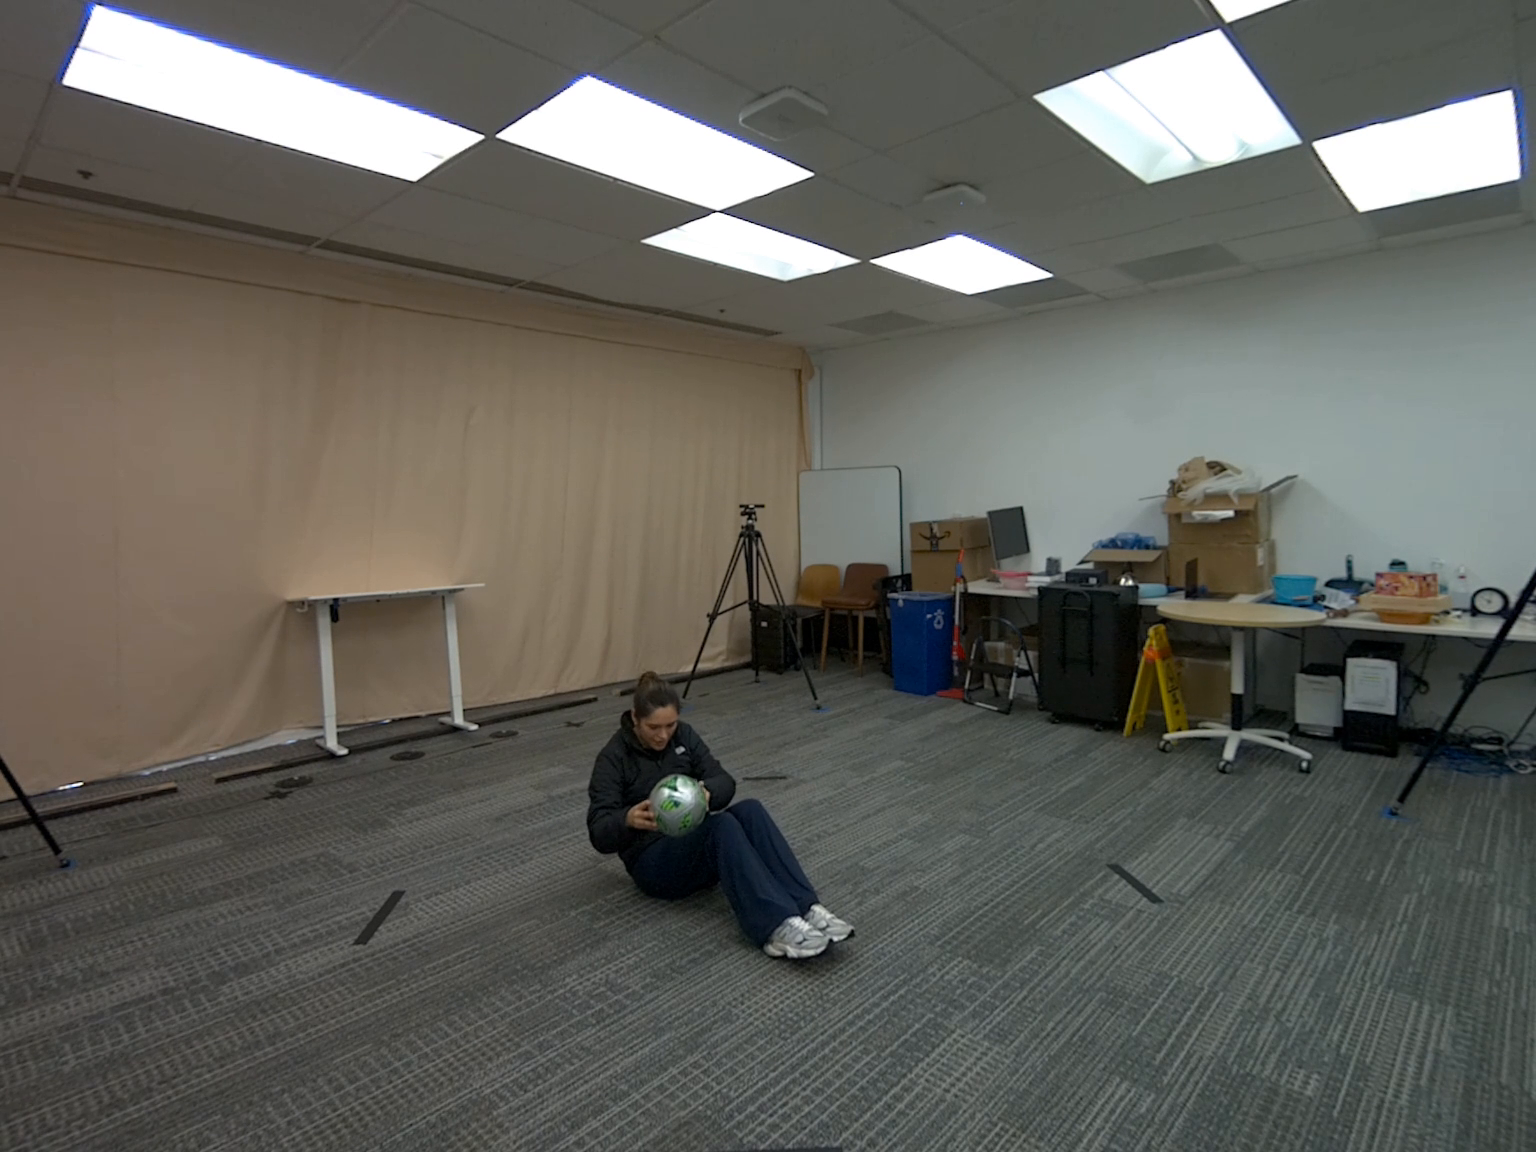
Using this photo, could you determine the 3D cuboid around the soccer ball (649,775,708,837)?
[{"bbox_3d":[-0.295,0.734,2.689,0.187,0.187,0.188,2,5,-2],"label":"soccer ball"}]
